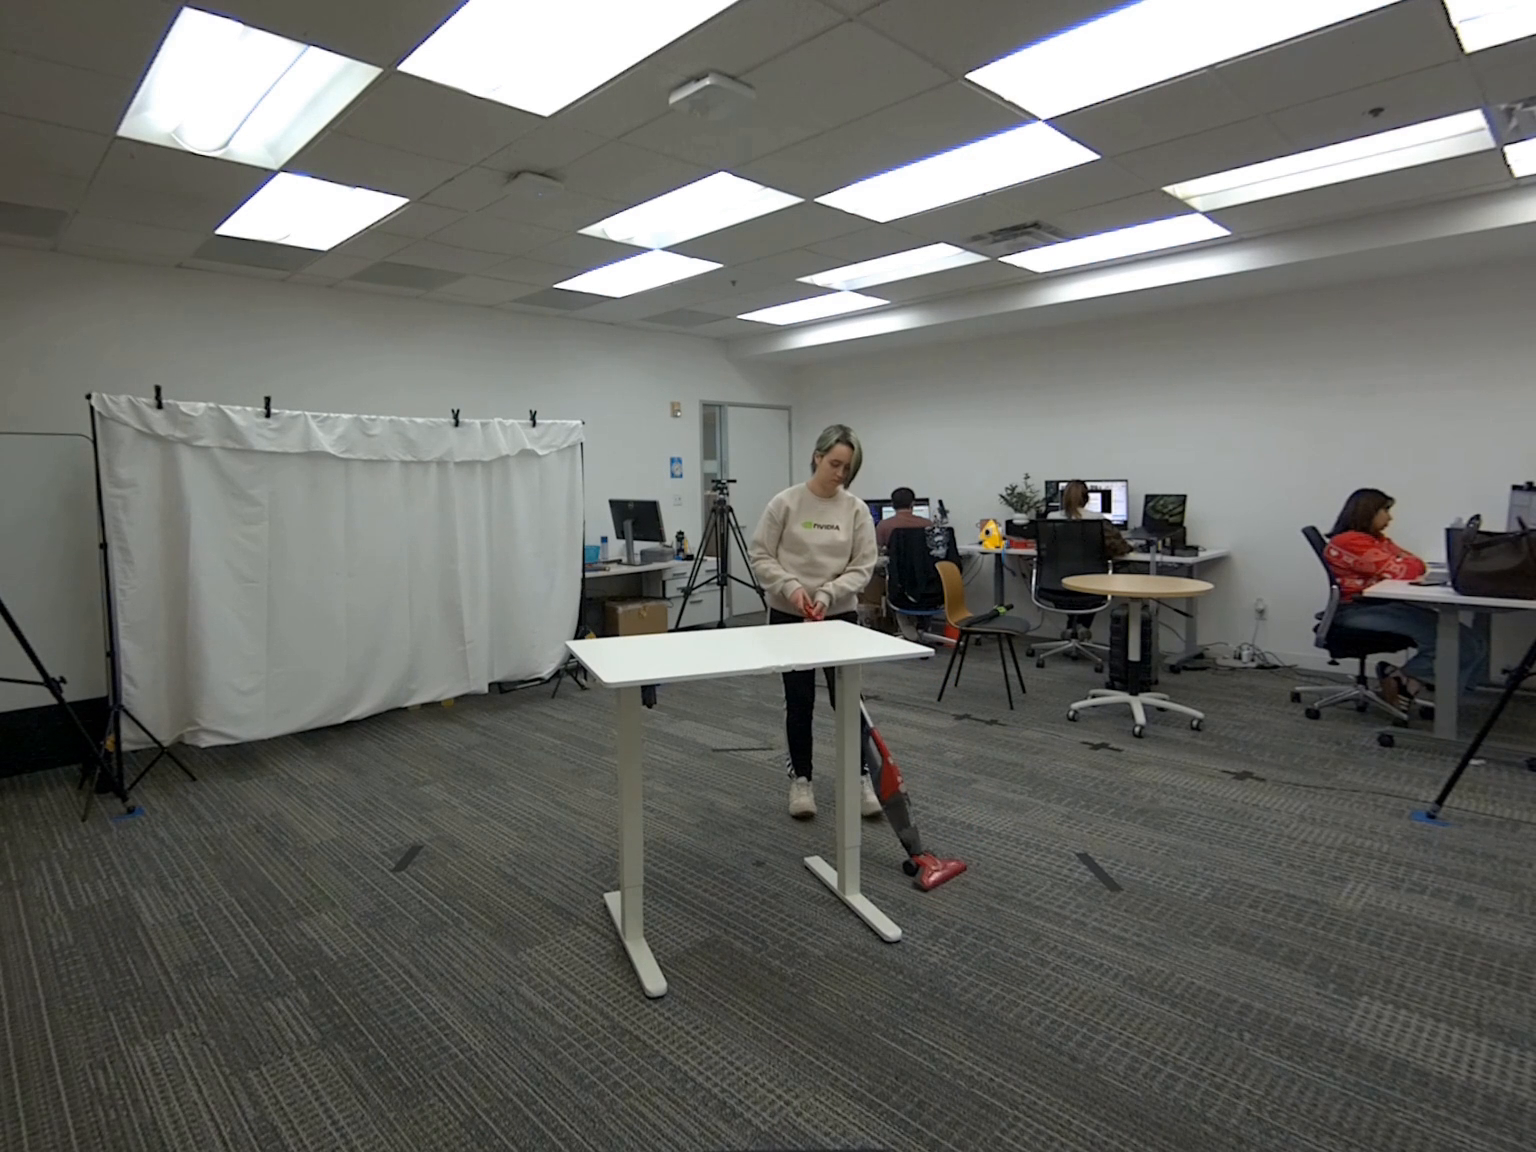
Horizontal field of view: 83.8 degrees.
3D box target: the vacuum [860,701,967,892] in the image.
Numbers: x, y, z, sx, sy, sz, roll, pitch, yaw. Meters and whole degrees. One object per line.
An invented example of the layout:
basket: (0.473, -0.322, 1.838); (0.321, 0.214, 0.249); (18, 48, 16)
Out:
vacuum: (0.380, 0.597, 3.185); (0.246, 1.076, 0.144); (-7, -28, -38)
